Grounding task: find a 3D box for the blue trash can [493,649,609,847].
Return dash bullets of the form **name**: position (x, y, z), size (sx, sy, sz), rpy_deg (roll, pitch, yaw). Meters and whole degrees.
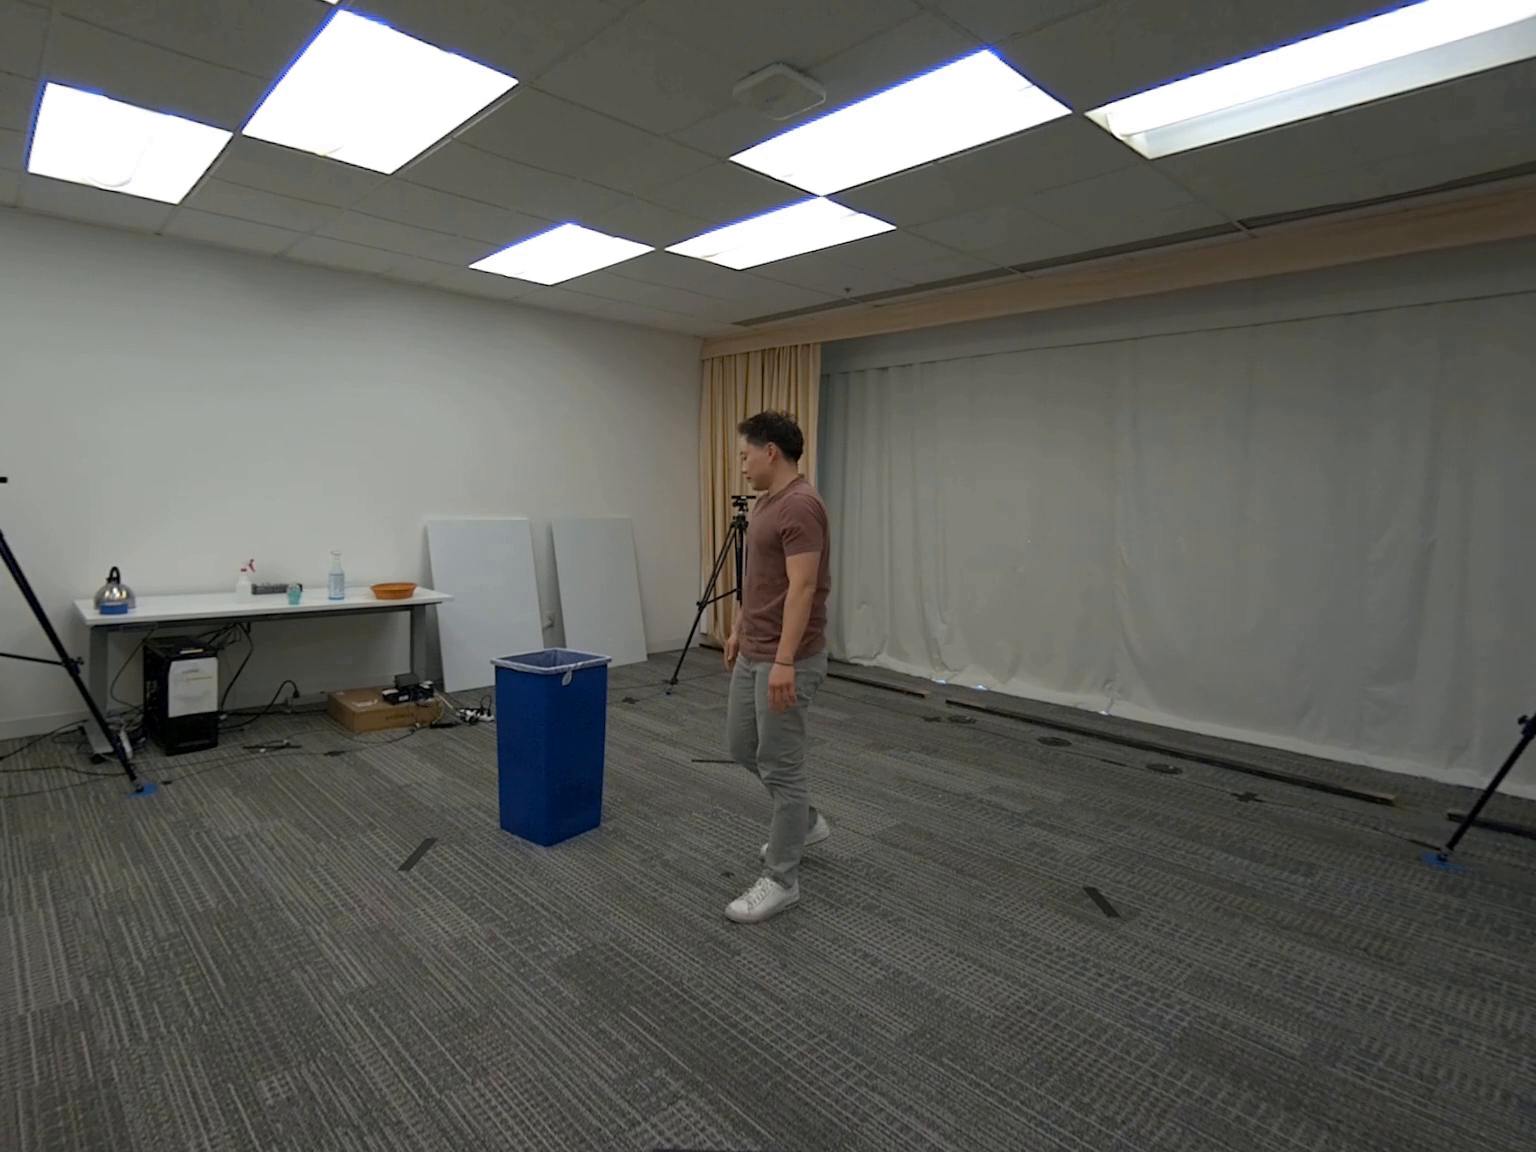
- **blue trash can**: position (-0.916, 0.692, 3.500), size (0.383, 0.712, 0.370), rpy_deg (4, 4, 36)
